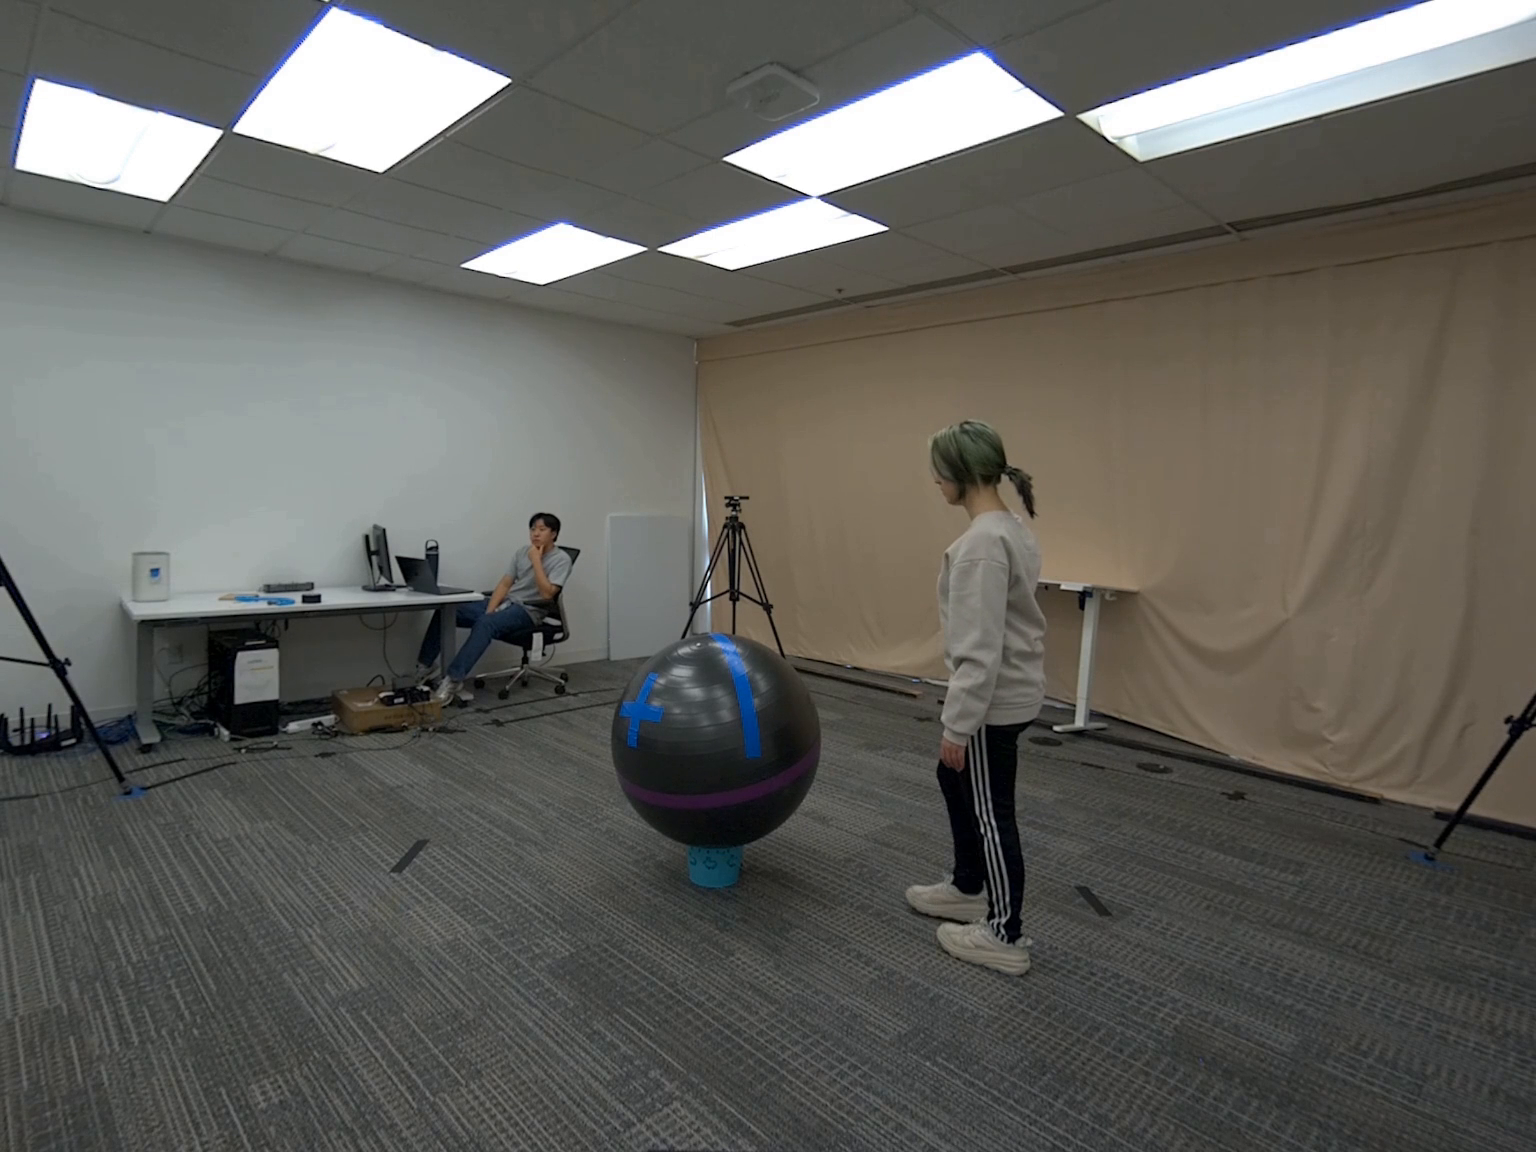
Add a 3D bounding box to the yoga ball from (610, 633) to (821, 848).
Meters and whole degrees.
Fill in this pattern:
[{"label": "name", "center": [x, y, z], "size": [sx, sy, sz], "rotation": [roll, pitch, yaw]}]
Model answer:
[{"label": "yoga ball", "center": [-0.198, 0.594, 3.064], "size": [0.757, 0.756, 0.761], "rotation": [1, 4, -1]}]
